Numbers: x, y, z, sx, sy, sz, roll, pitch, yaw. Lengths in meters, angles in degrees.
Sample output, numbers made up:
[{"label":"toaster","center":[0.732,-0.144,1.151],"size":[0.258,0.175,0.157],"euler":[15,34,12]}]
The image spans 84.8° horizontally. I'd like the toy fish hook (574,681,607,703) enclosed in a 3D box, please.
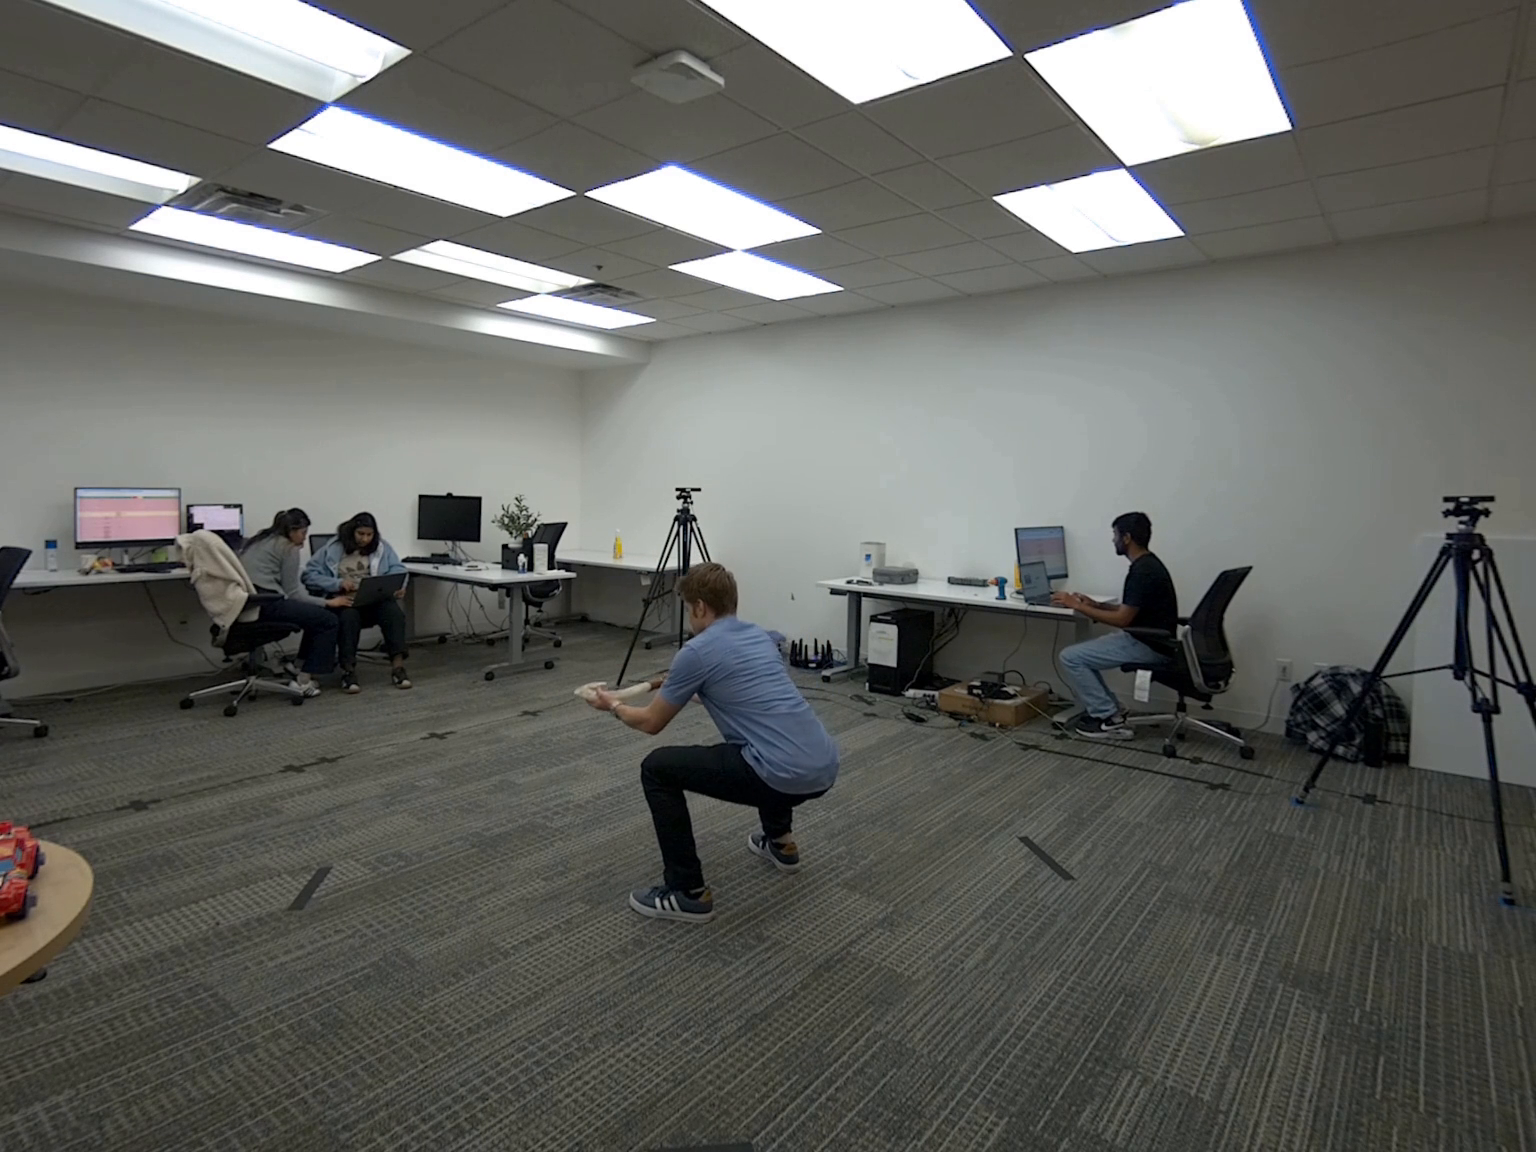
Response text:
[{"label":"toy fish hook","center":[-0.560,0.431,3.411],"size":[0.233,0.048,0.491],"euler":[14,11,38]}]
